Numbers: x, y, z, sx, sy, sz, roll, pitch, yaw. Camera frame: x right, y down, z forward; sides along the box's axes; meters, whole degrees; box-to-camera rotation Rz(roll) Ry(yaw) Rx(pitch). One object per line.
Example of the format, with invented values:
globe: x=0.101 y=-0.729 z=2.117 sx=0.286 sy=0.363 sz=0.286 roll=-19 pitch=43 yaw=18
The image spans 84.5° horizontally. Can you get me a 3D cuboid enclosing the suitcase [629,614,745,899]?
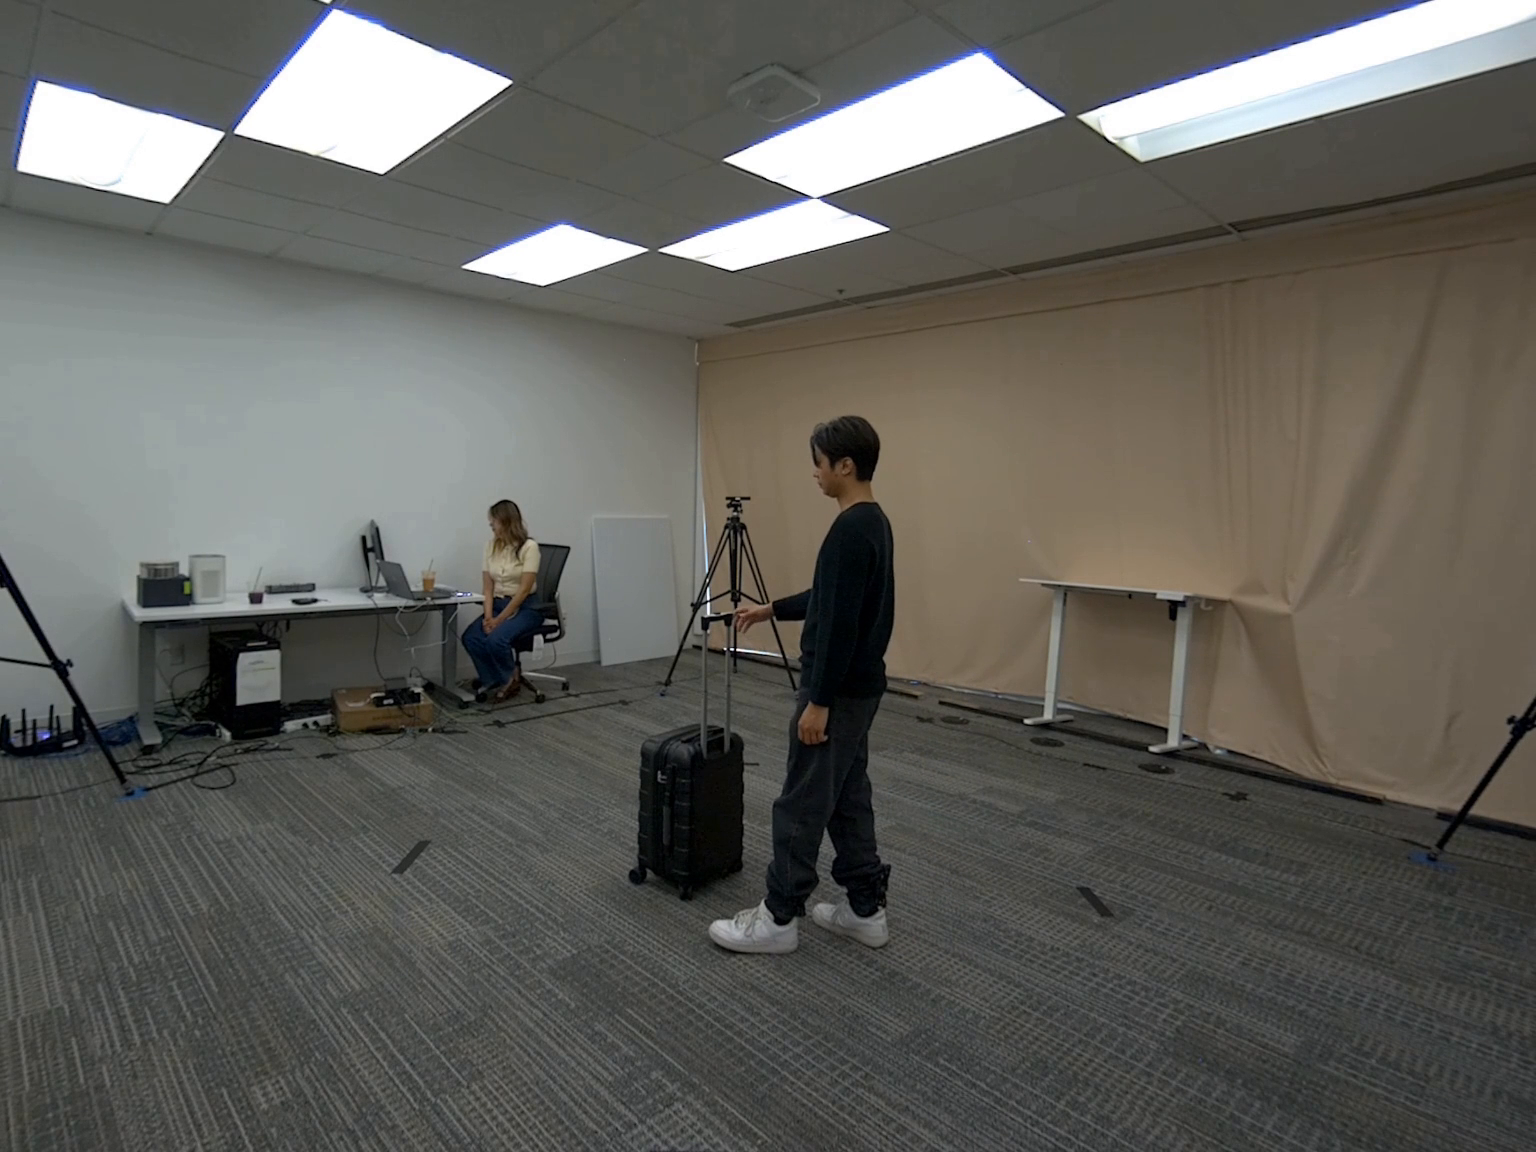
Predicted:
suitcase: x=-0.285 y=0.629 z=3.061 sx=0.263 sy=0.977 sz=0.375 roll=2 pitch=3 yaw=36
